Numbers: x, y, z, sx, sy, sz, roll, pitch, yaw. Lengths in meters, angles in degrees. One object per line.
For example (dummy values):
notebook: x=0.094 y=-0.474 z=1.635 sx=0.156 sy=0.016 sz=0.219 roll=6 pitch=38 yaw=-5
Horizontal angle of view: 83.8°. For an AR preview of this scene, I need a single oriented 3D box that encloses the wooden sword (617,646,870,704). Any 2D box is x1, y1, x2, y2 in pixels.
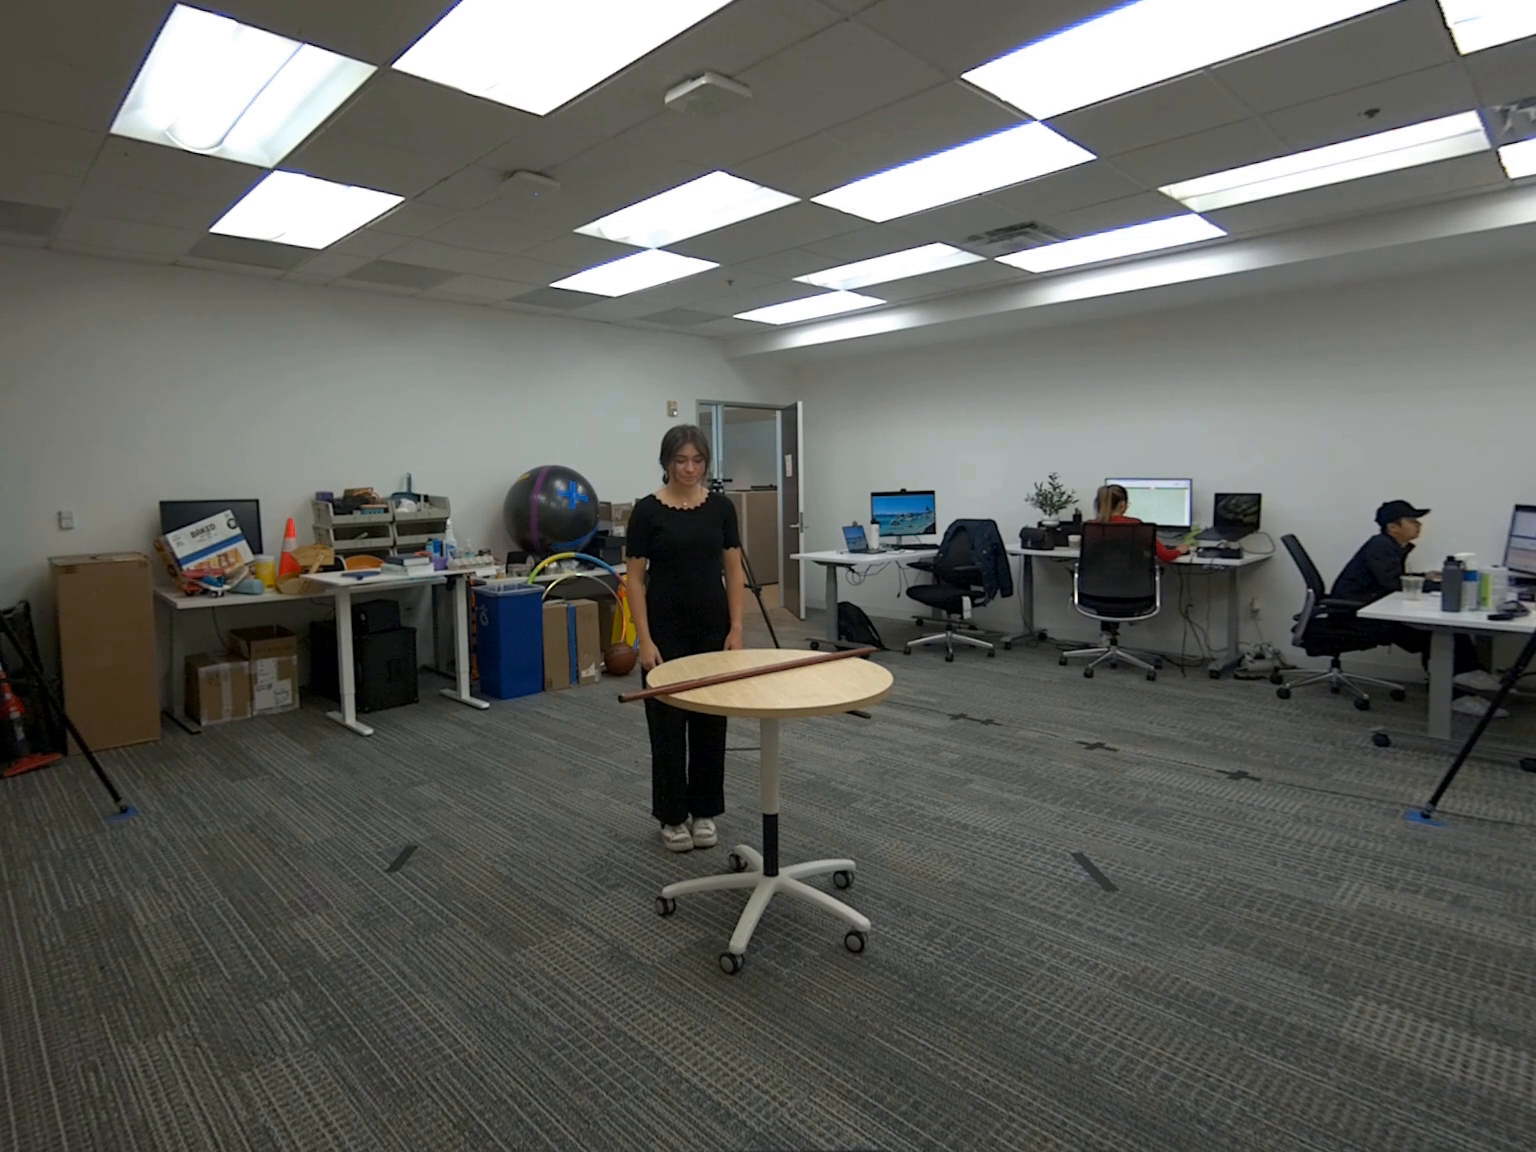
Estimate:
wooden sword: x=-0.047 y=0.307 z=2.665 sx=0.998 sy=0.051 sz=0.025 roll=-7 pitch=42 yaw=-44
